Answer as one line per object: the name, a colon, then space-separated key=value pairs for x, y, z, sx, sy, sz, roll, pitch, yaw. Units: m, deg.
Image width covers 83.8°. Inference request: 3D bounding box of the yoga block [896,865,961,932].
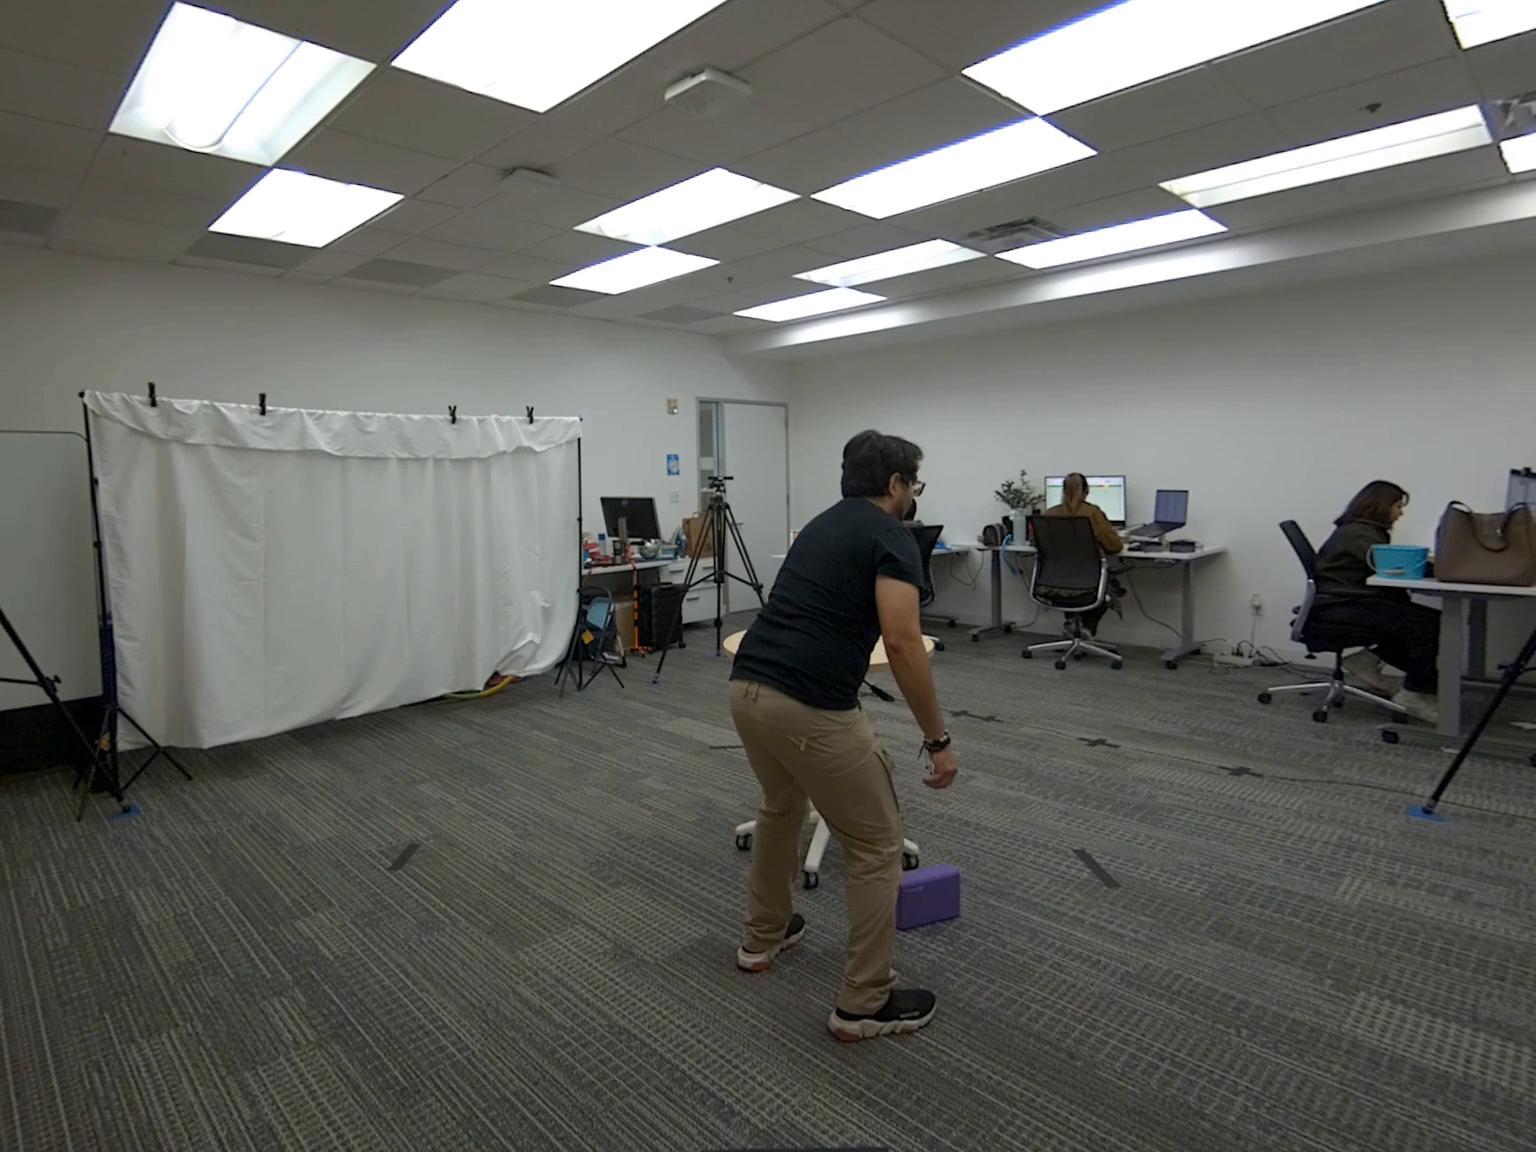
yoga block: x=0.494 y=1.001 z=2.676 sx=0.225 sy=0.148 sz=0.078 roll=-4 pitch=4 yaw=-21
